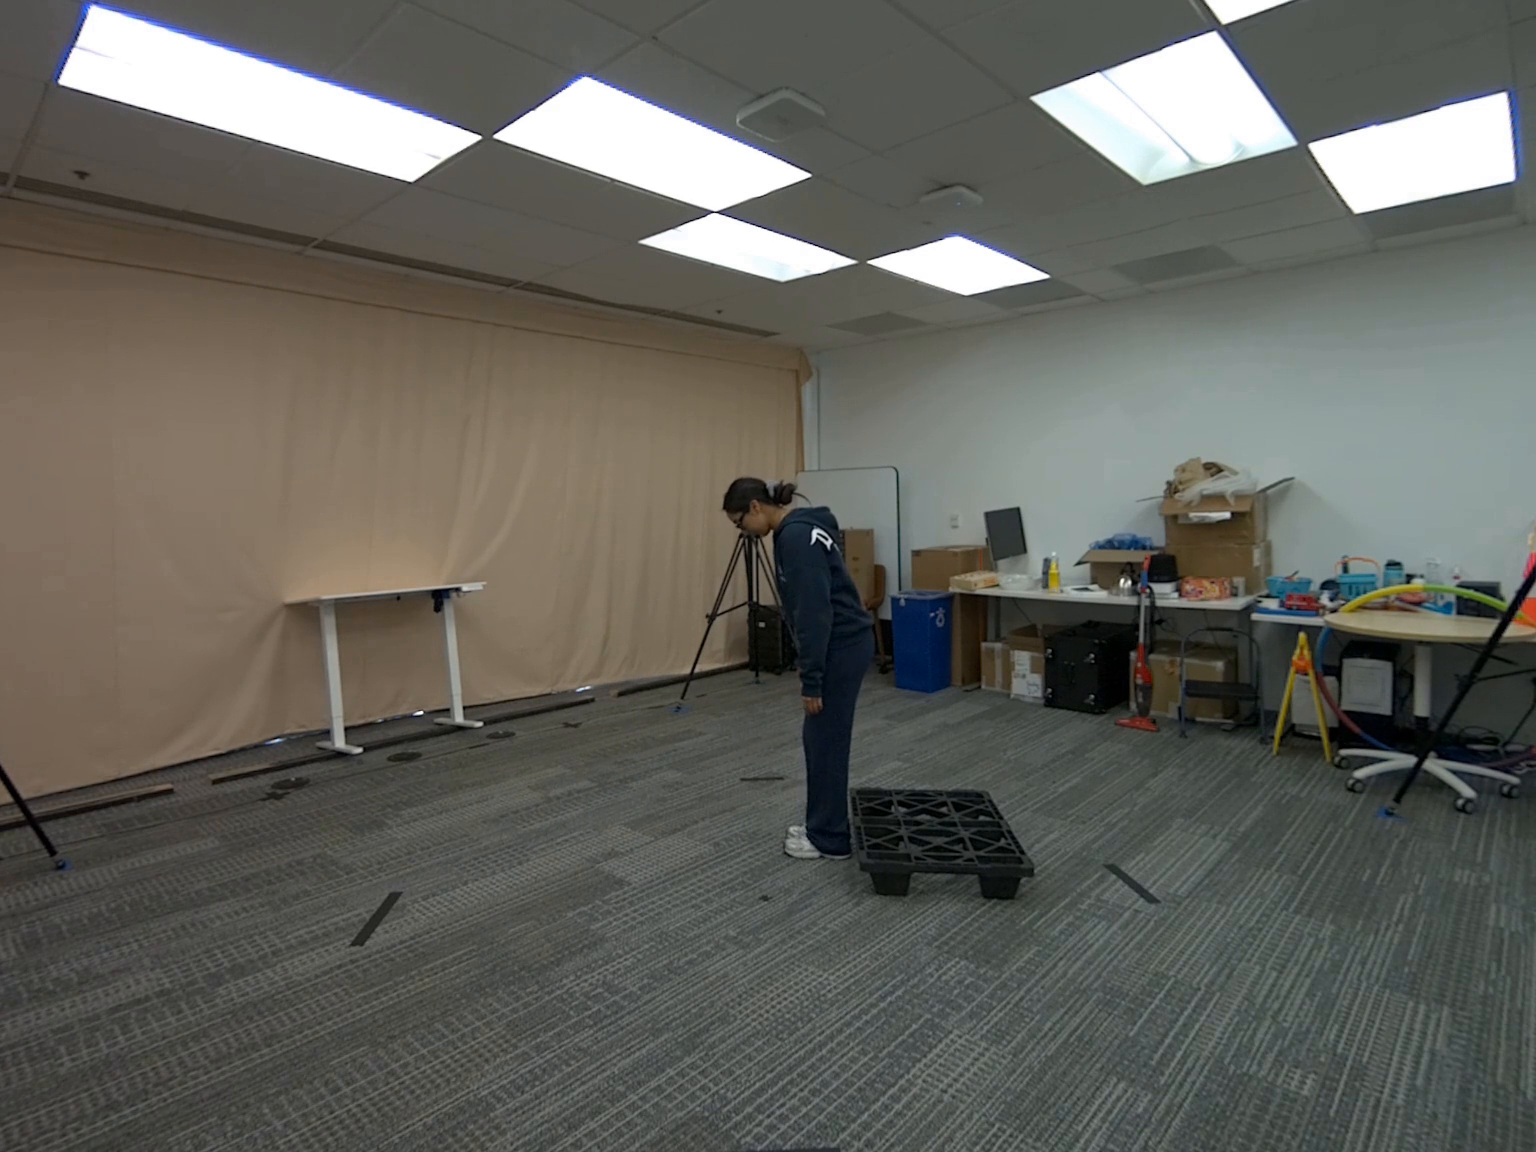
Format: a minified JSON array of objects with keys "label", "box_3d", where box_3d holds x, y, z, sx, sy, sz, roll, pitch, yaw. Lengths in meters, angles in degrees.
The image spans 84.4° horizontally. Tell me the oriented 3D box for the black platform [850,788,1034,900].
[{"label":"black platform","box_3d":[0.649,1.034,3.315,0.608,0.143,0.803,0,5,4]}]
